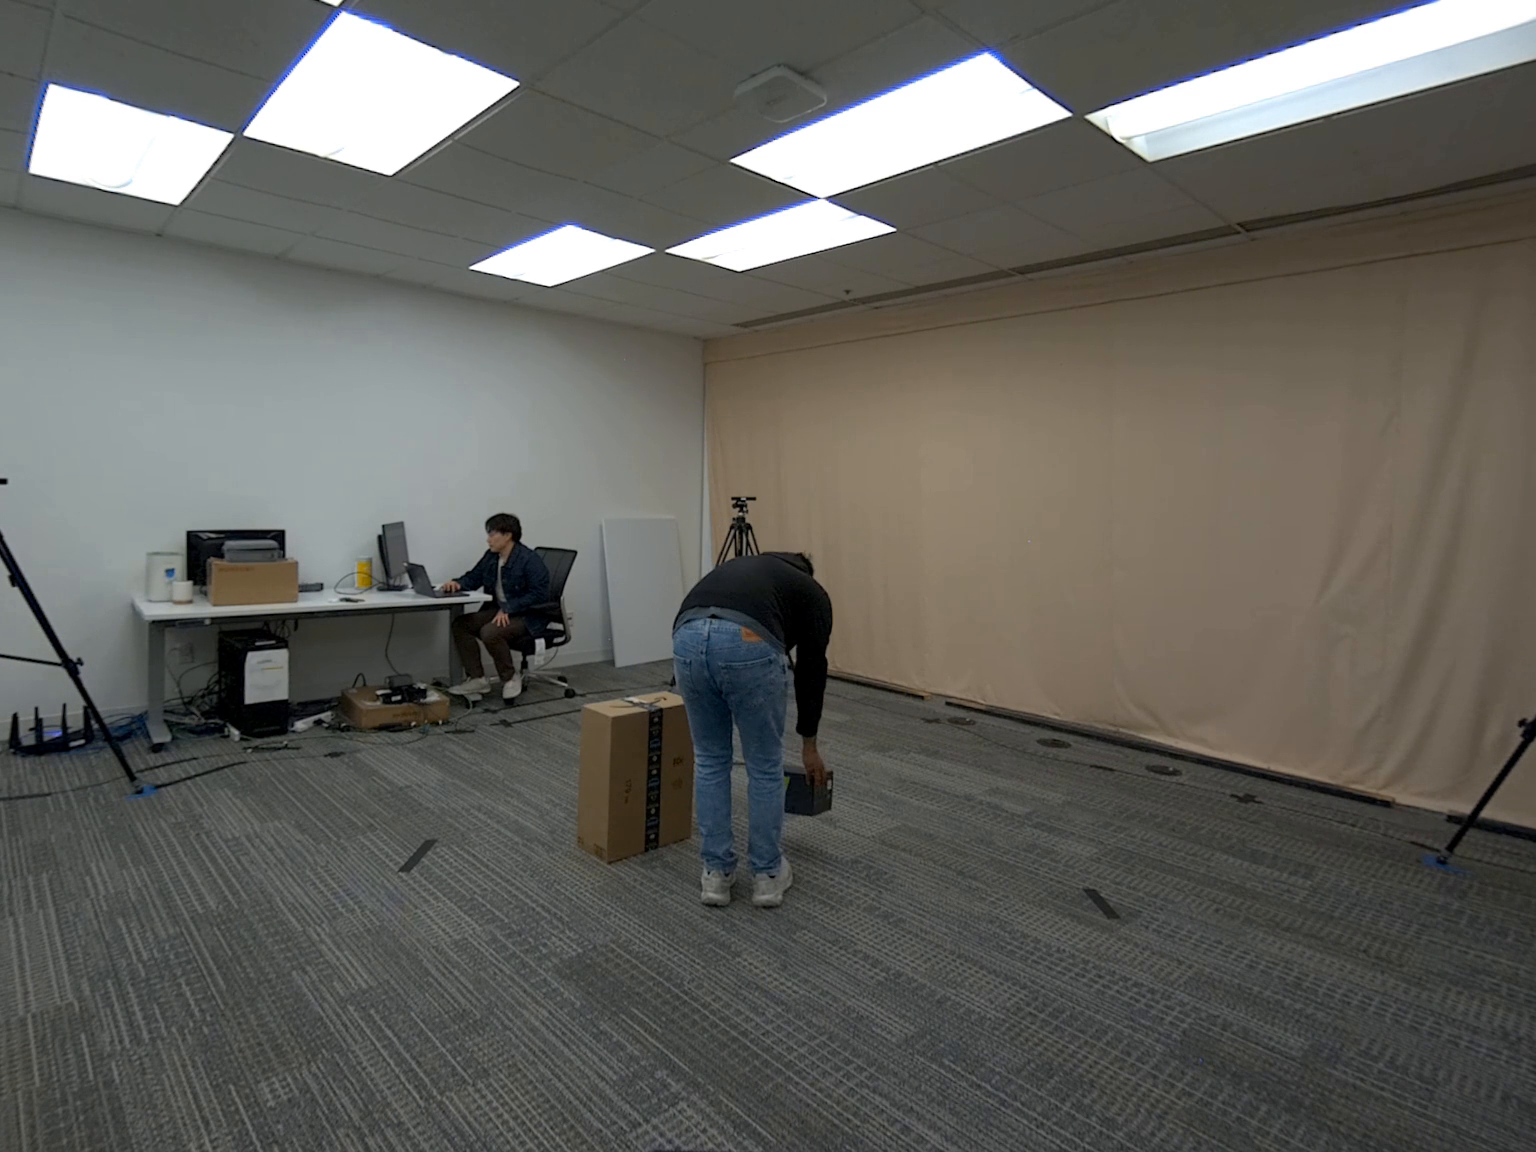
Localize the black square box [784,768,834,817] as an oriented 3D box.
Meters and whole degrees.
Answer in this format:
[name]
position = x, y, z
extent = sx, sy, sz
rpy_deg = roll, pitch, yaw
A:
[black square box]
position = 0.105, 0.844, 3.348
extent = 0.232, 0.156, 0.212
rpy_deg = 1, -6, 26
